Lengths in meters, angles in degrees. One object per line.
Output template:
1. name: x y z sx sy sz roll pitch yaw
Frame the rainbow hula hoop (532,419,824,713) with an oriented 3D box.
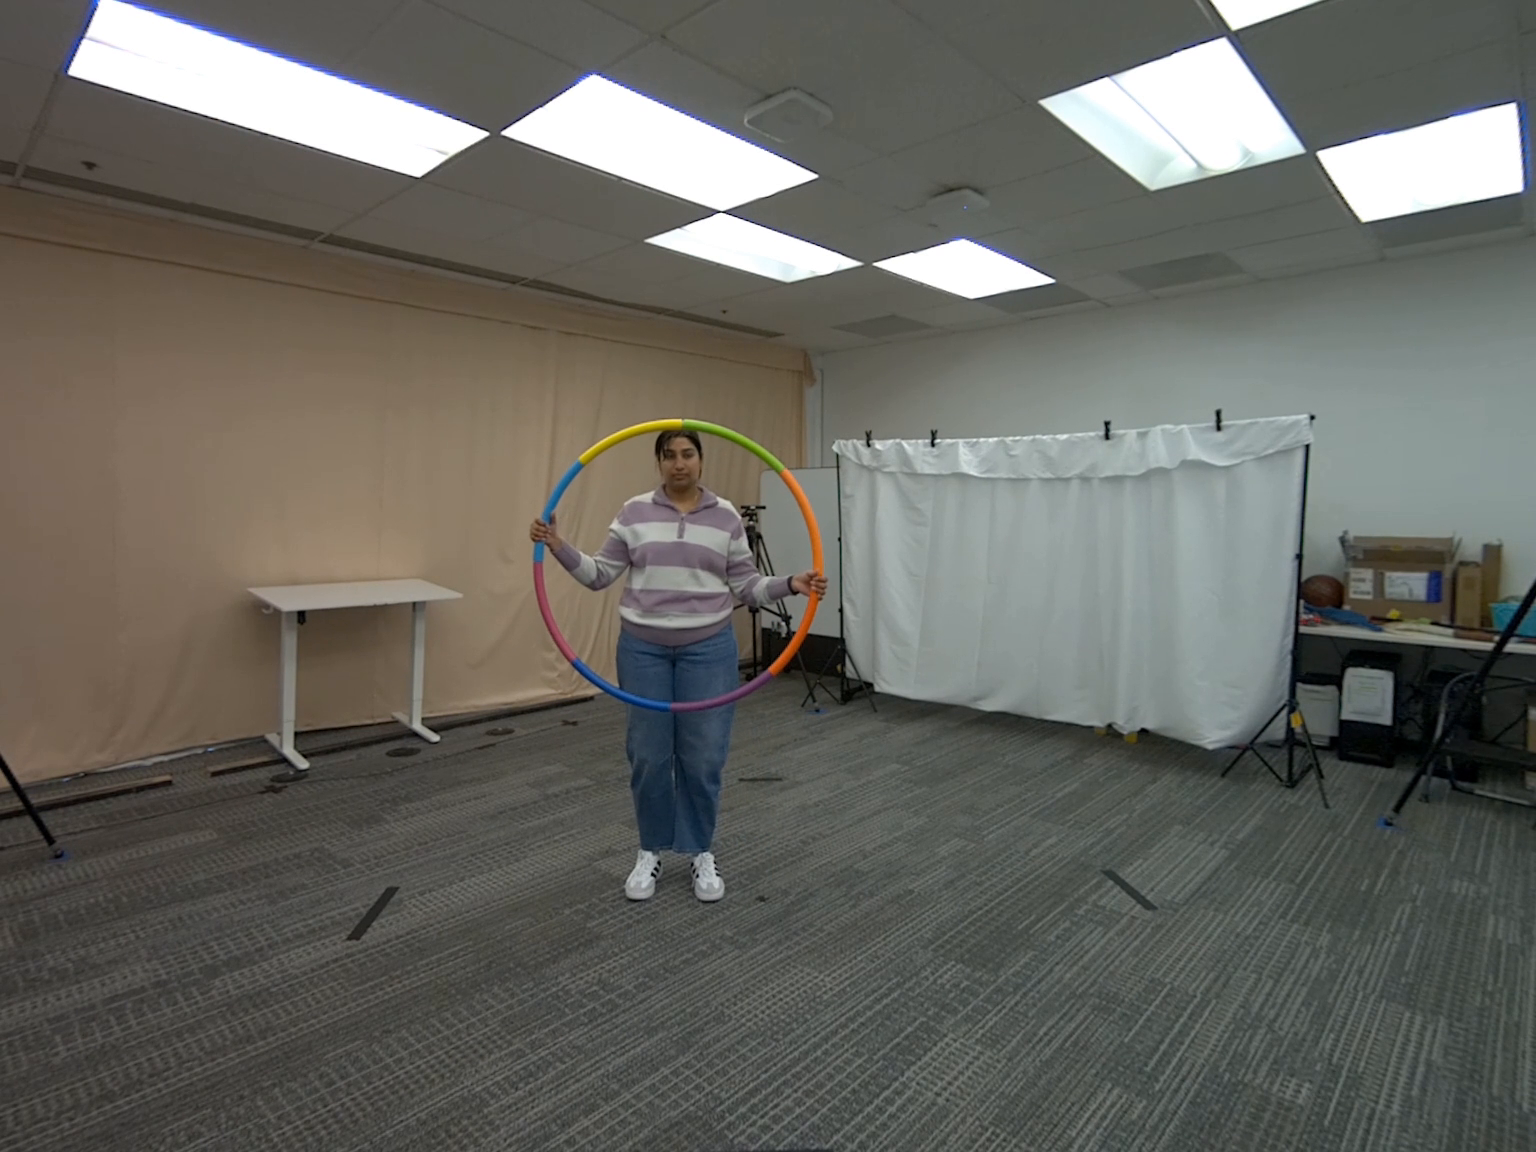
1. rainbow hula hoop: -0.296 -0.031 2.843 0.981 0.977 0.035 0 3 3
